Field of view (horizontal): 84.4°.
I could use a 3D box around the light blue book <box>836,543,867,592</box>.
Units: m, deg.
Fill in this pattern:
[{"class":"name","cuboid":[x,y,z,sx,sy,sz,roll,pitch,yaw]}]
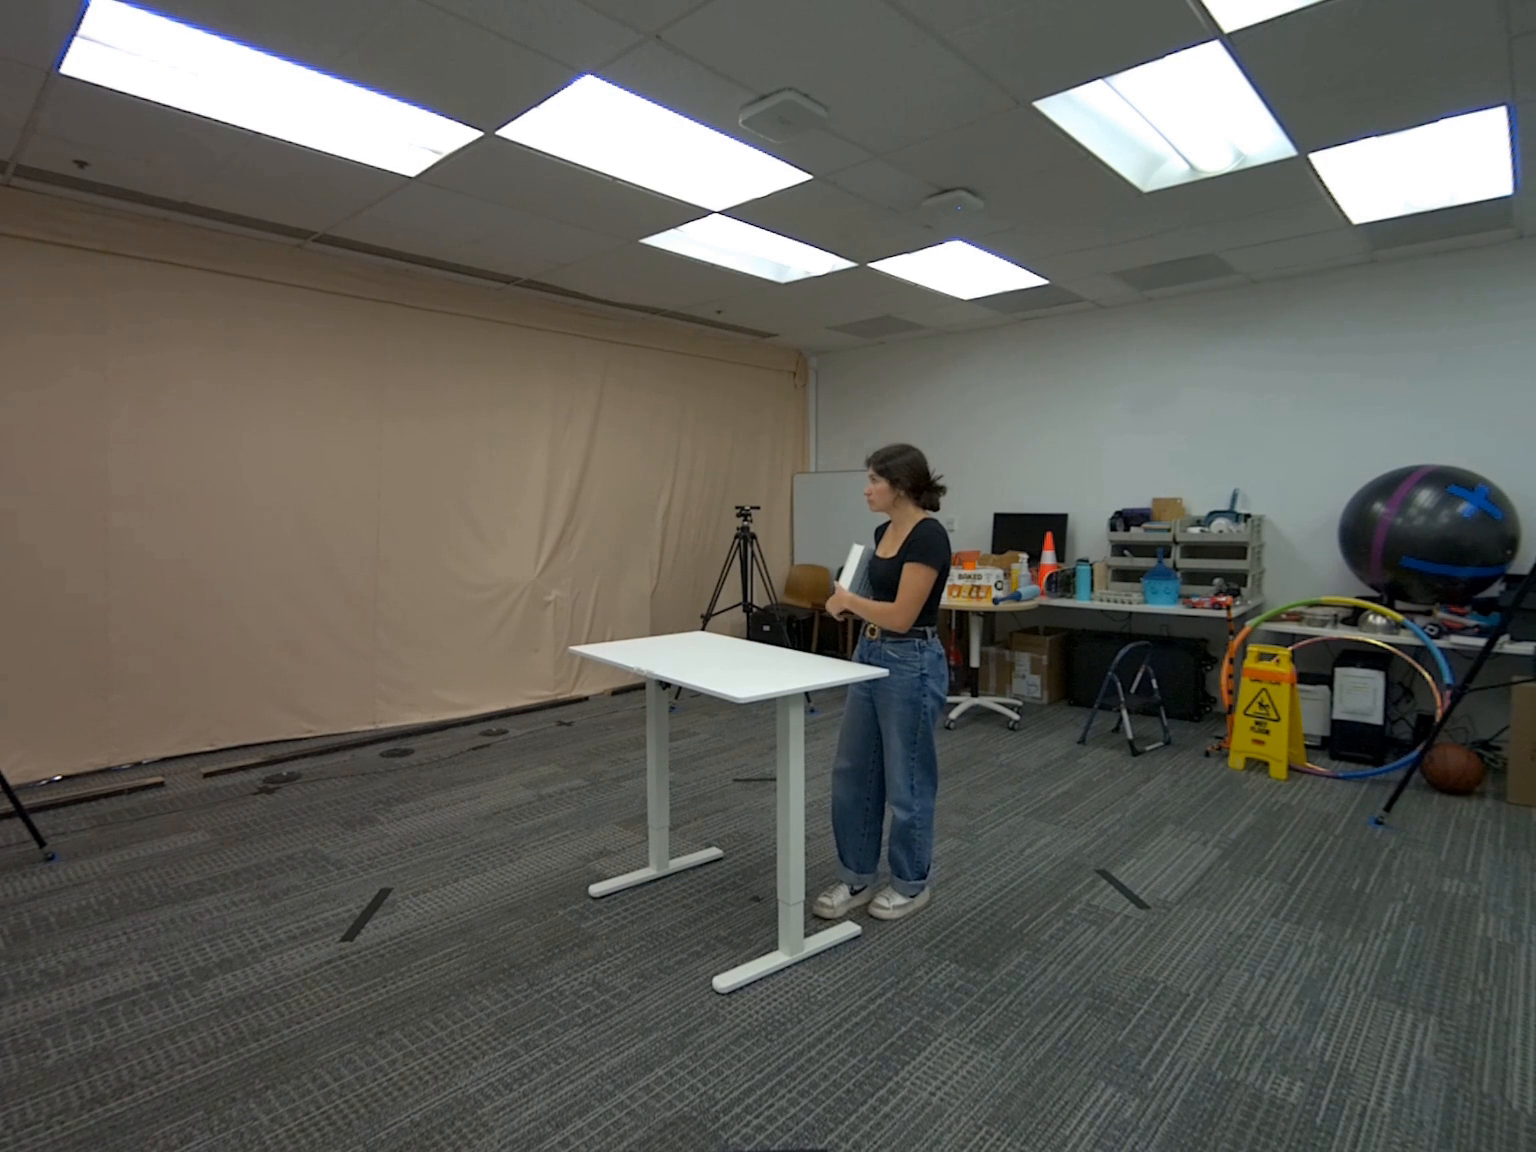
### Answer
[{"class":"light blue book","cuboid":[0.377,0.017,2.971,0.252,0.191,0.061,26,-6,-36]}]
